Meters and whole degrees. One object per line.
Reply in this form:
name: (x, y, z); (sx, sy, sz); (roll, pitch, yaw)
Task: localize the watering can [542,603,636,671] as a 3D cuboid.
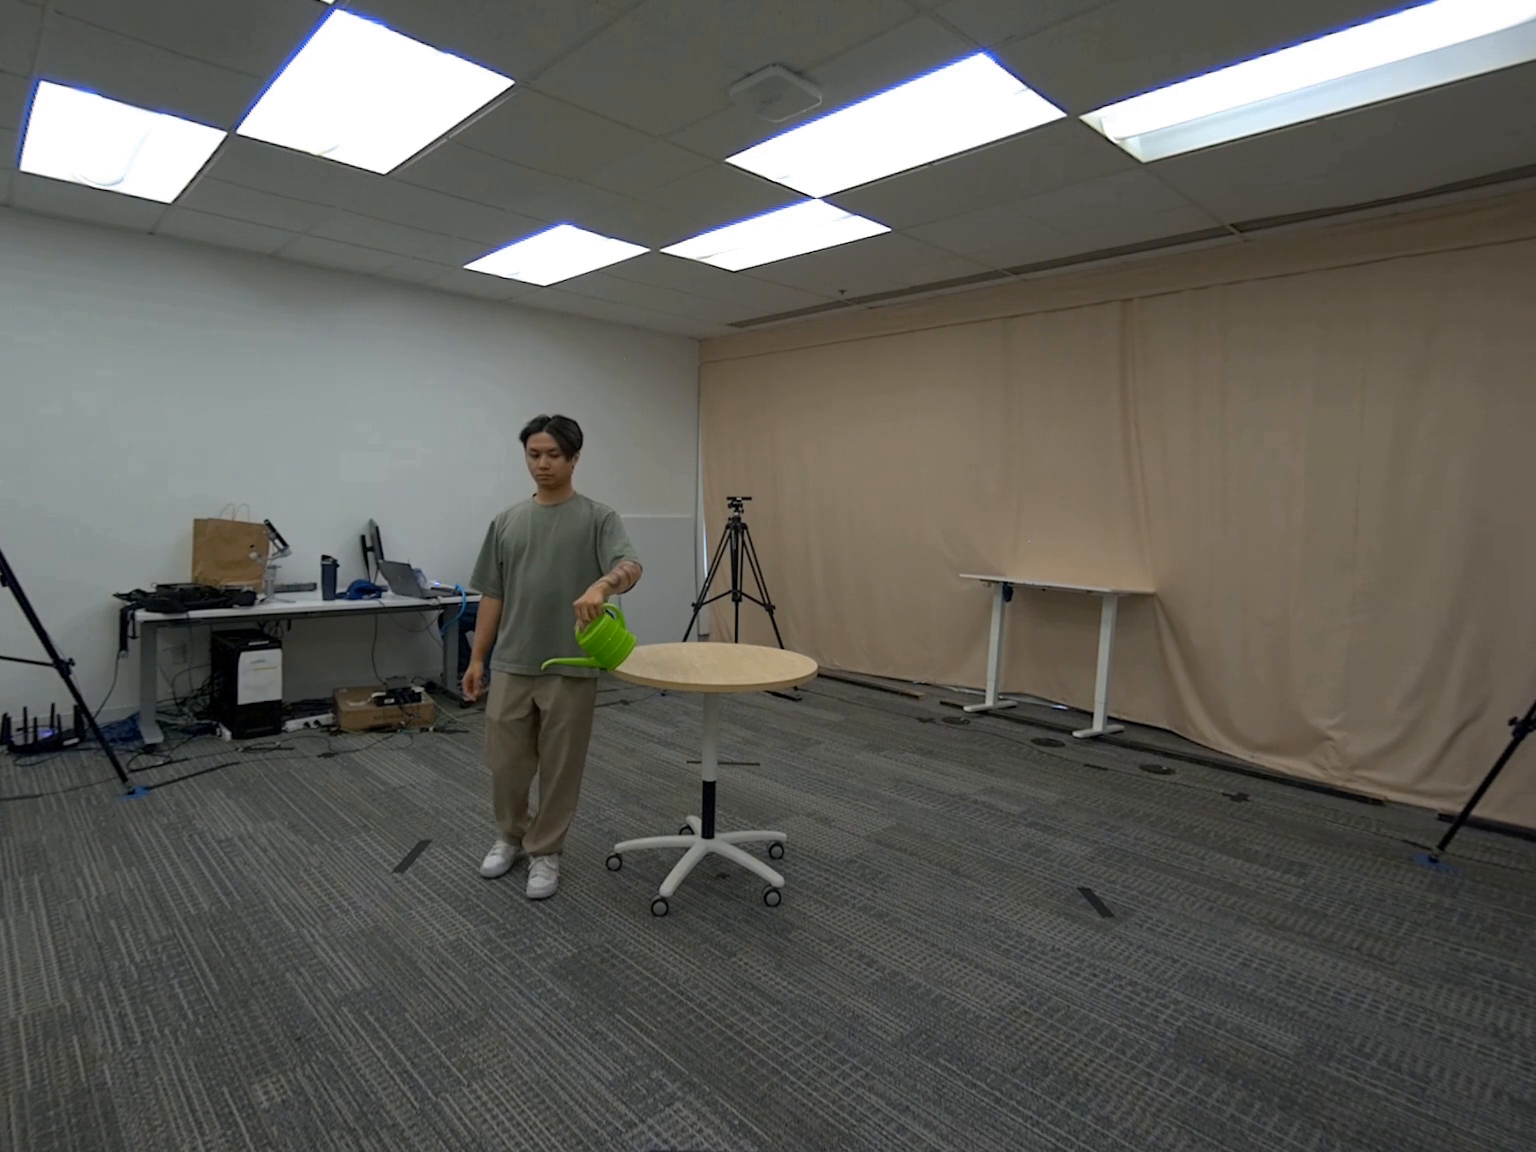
watering can: (-0.539, 0.223, 2.566); (0.173, 0.278, 0.100); (44, 3, -21)
